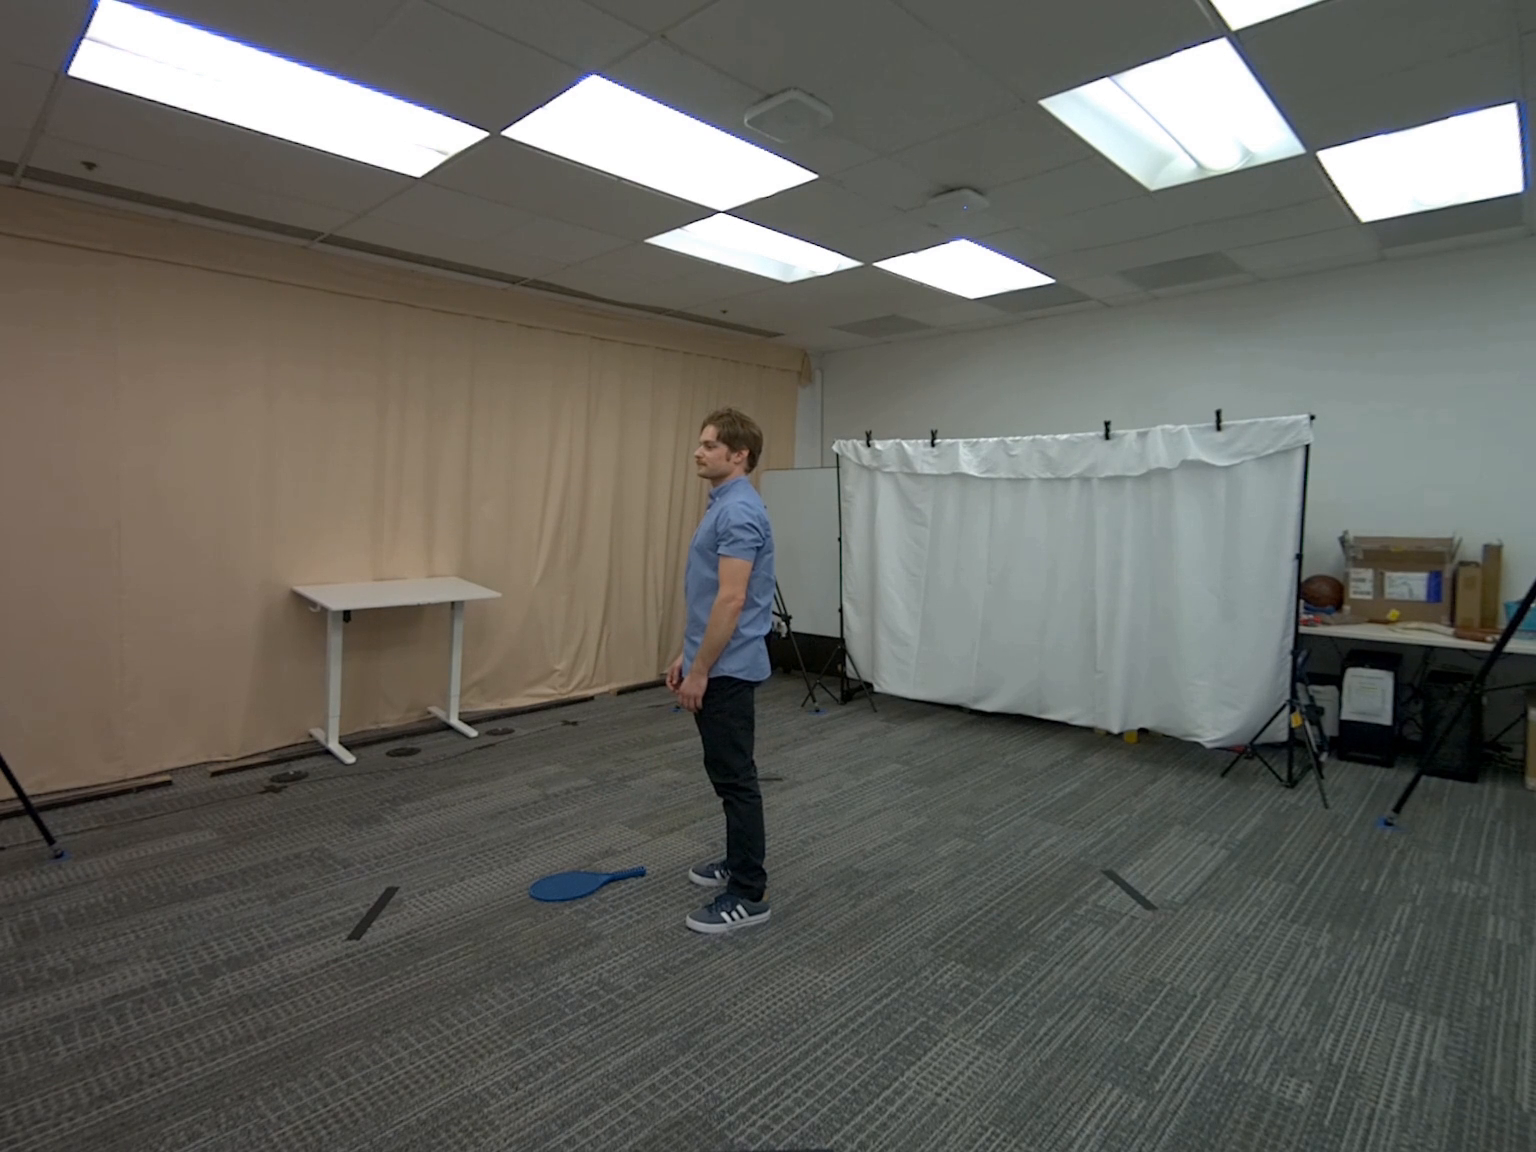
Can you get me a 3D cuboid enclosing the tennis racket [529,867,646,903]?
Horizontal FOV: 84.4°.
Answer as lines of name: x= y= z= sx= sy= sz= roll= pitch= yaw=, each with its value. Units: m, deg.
tennis racket: x=-0.663 y=1.126 z=3.110 sx=0.423 sy=0.031 sz=0.219 roll=-4 pitch=5 yaw=-23
